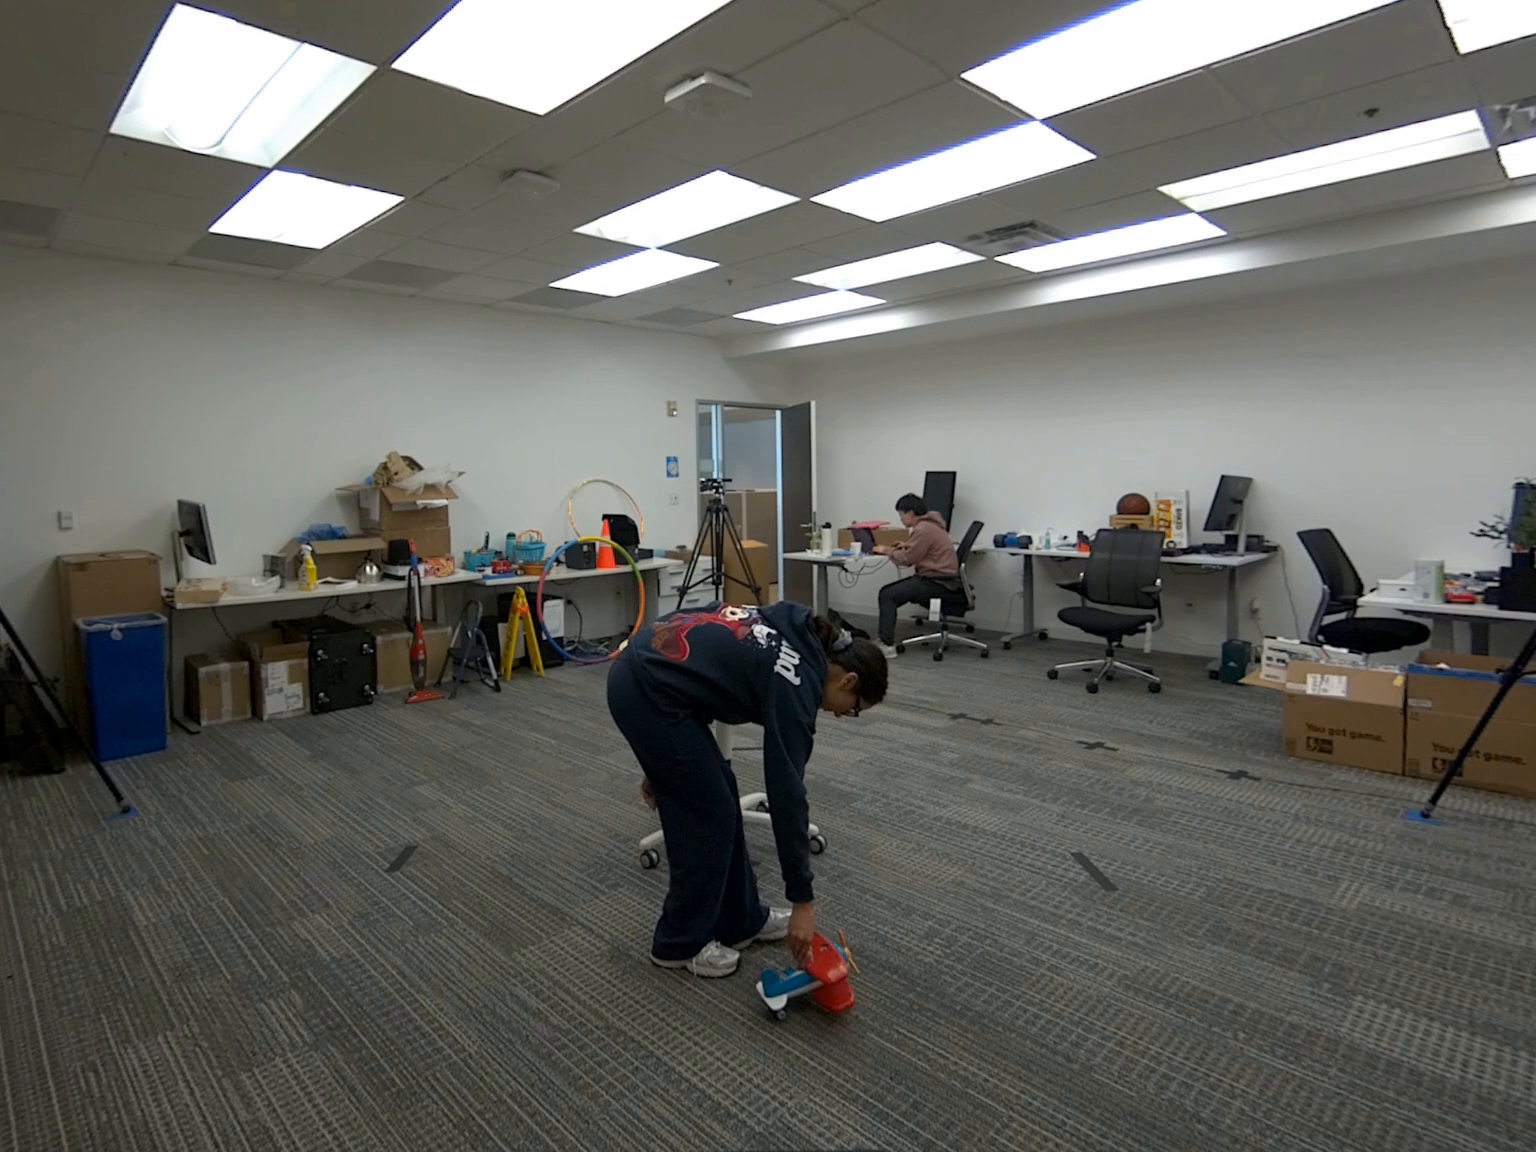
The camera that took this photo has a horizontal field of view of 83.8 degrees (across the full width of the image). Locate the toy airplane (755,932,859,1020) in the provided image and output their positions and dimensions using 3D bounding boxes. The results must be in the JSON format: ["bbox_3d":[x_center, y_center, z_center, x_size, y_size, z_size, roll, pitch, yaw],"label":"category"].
[{"bbox_3d":[0.117,1.067,2.242,0.258,0.156,0.252,2,5,38],"label":"toy airplane"}]
